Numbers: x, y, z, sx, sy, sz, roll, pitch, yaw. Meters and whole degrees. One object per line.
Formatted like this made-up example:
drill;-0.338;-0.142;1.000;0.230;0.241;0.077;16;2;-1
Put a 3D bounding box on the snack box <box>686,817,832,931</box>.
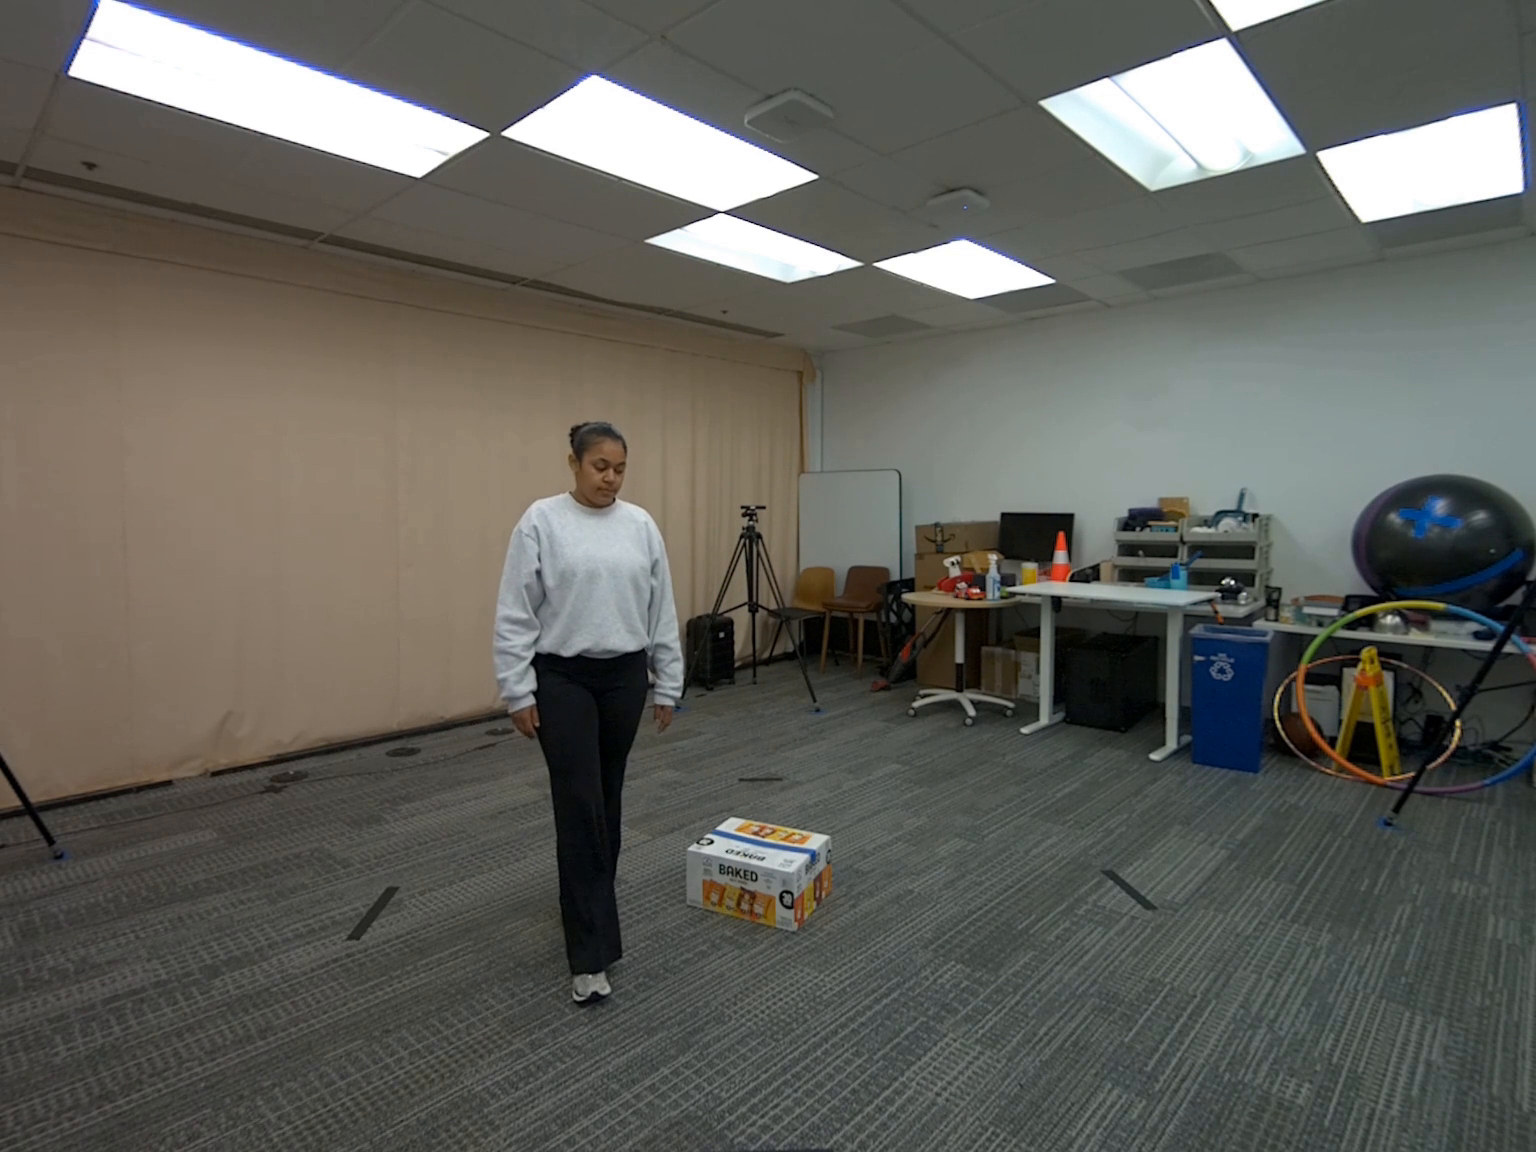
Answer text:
snack box;-0.023;1.043;2.979;0.416;0.205;0.332;2;5;27
